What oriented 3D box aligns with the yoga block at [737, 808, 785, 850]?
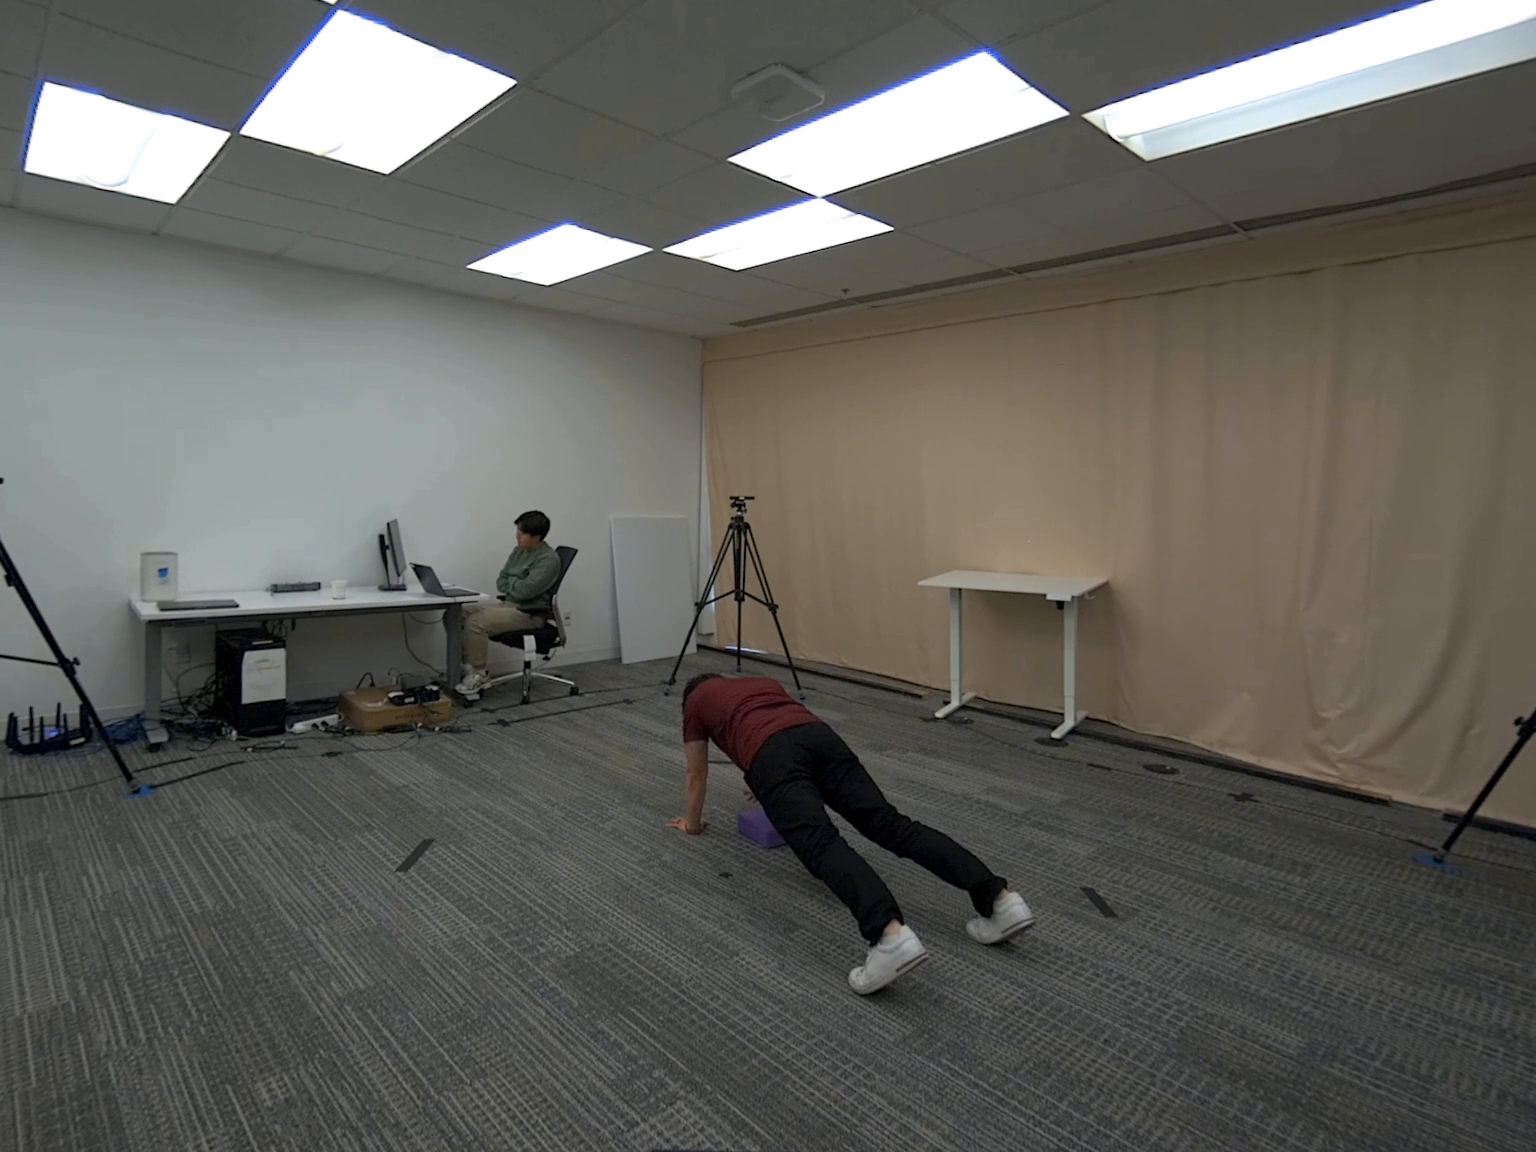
[{"bbox_3d":[-0.012,1.031,3.467,0.146,0.076,0.235,-4,6,-34],"label":"yoga block"}]
